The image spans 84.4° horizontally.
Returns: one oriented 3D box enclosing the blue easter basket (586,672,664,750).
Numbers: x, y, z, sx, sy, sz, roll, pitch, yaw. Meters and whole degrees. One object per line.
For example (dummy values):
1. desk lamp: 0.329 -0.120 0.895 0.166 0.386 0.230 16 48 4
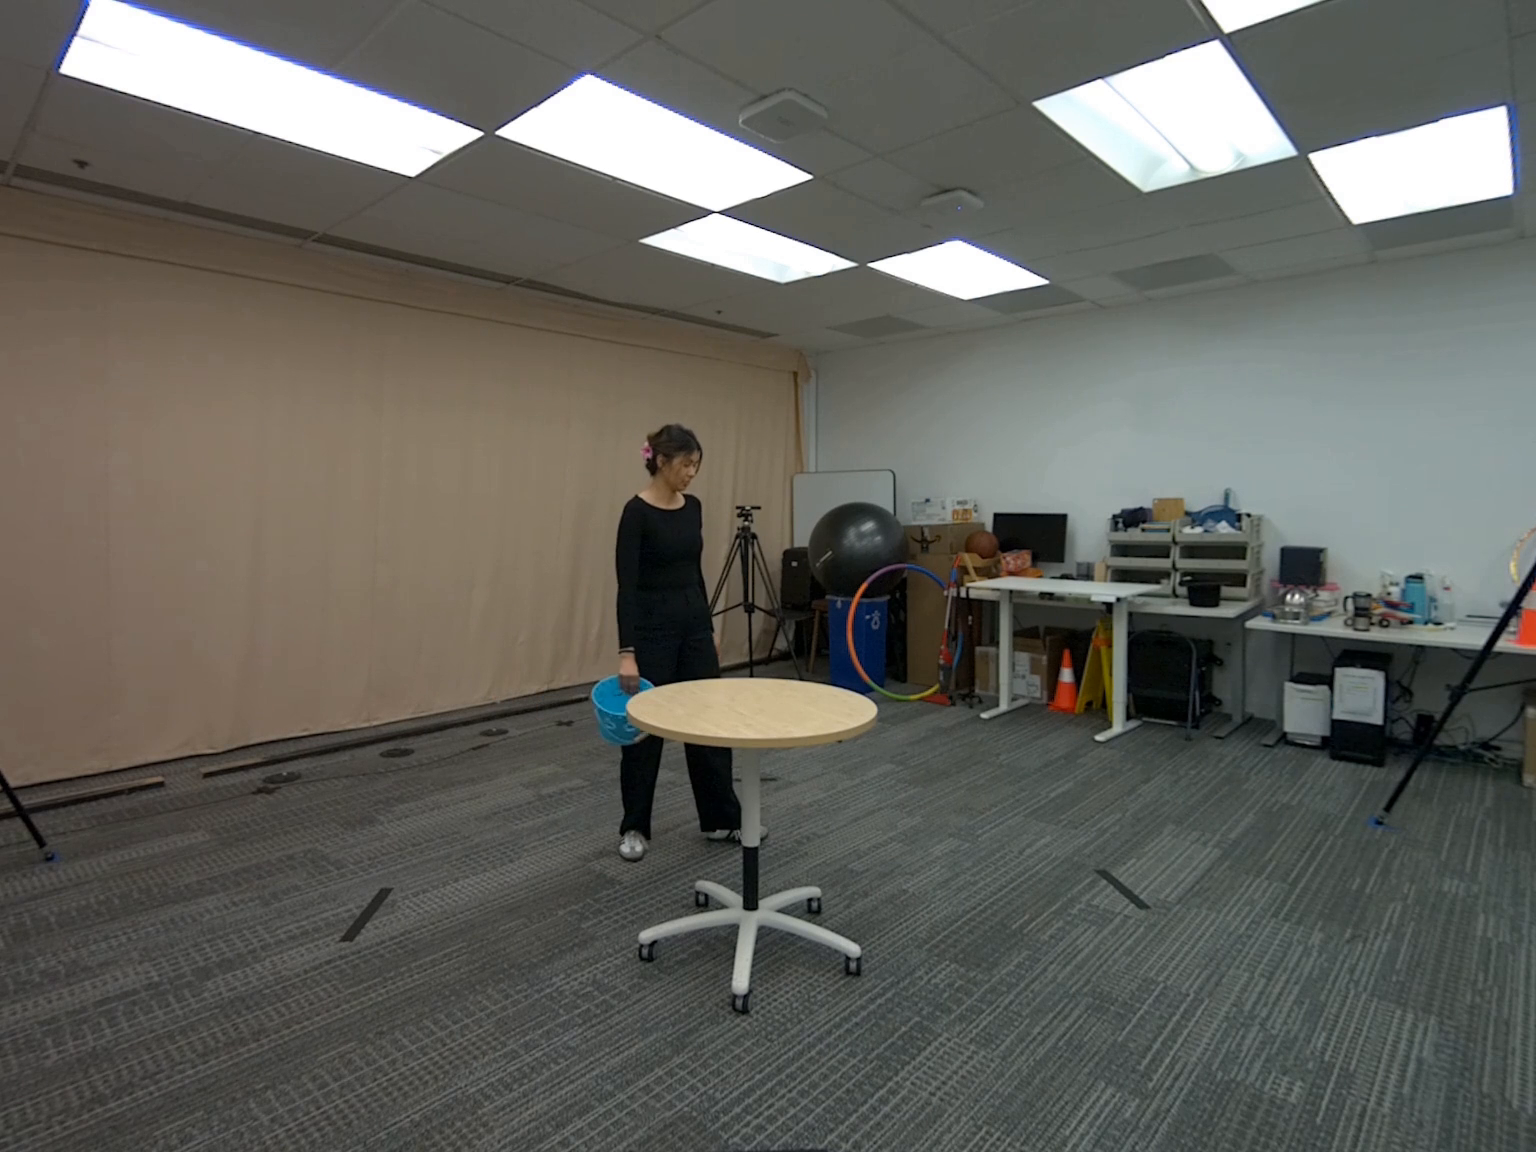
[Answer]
1. blue easter basket: -0.505 0.474 3.018 0.243 0.153 0.247 -1 28 -1
